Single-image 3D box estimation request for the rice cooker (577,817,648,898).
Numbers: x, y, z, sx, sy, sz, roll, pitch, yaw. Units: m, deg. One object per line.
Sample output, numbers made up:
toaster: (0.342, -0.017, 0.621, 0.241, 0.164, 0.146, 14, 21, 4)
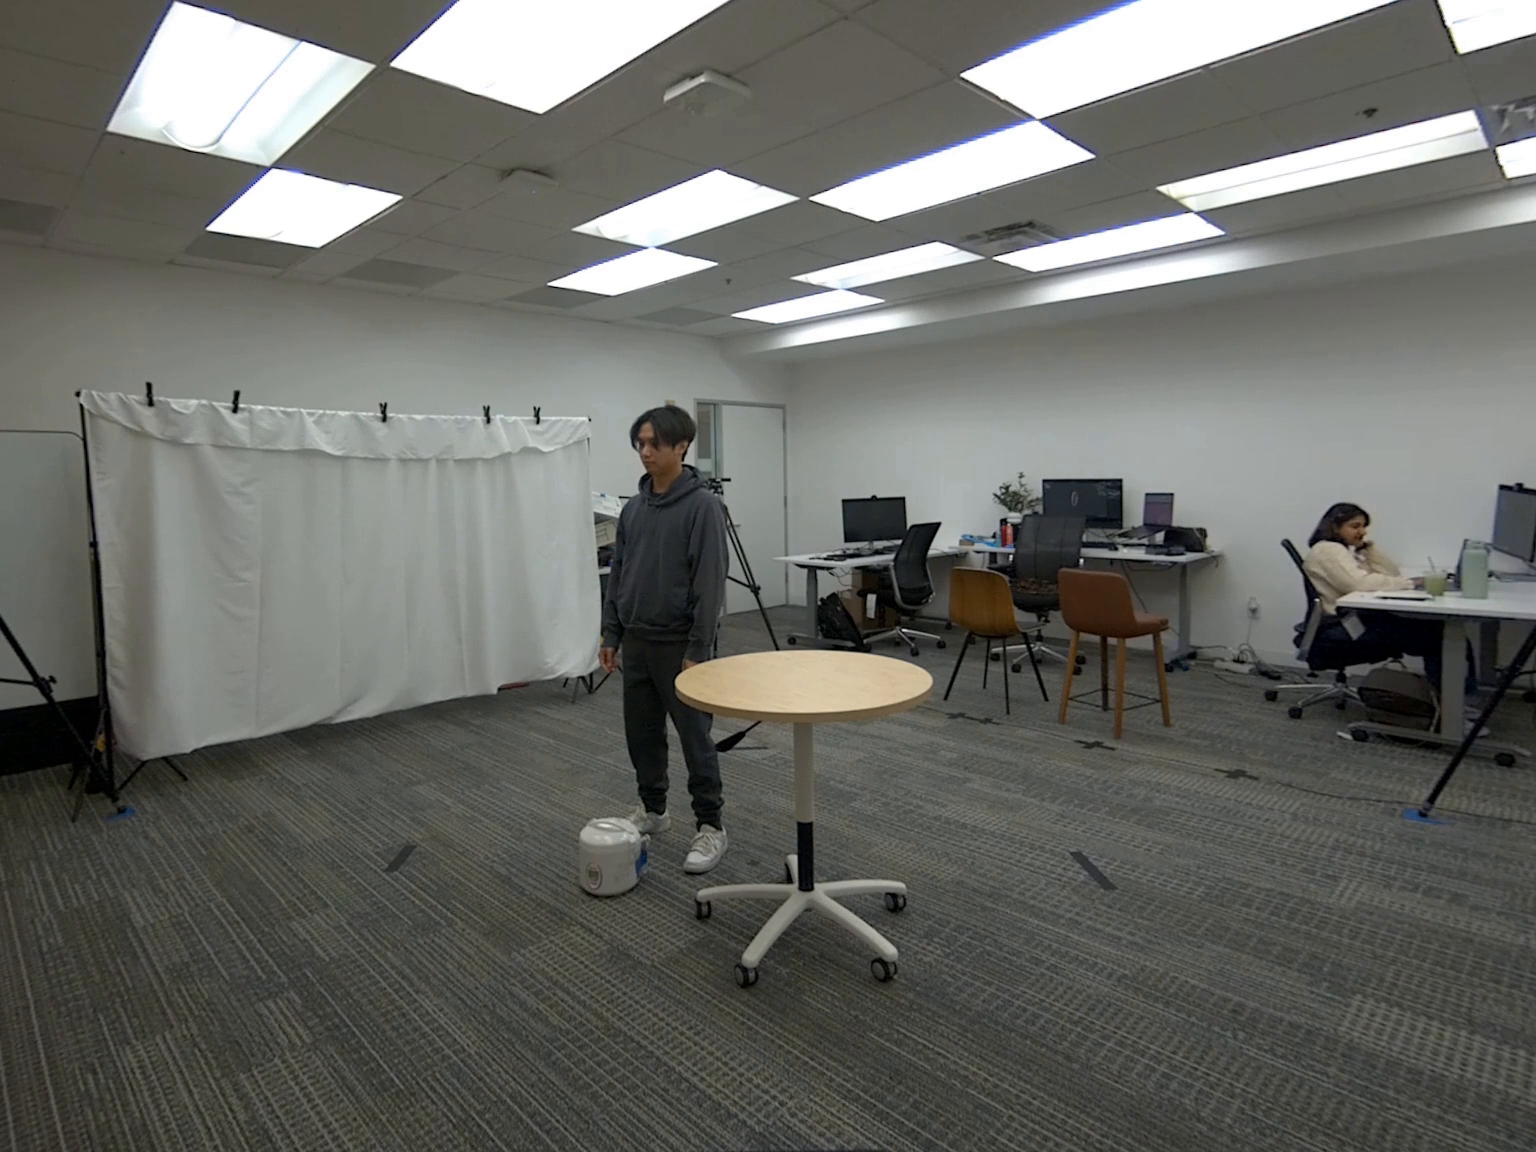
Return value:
rice cooker: (-0.543, 0.959, 2.944, 0.225, 0.232, 0.214, 1, 5, 22)
